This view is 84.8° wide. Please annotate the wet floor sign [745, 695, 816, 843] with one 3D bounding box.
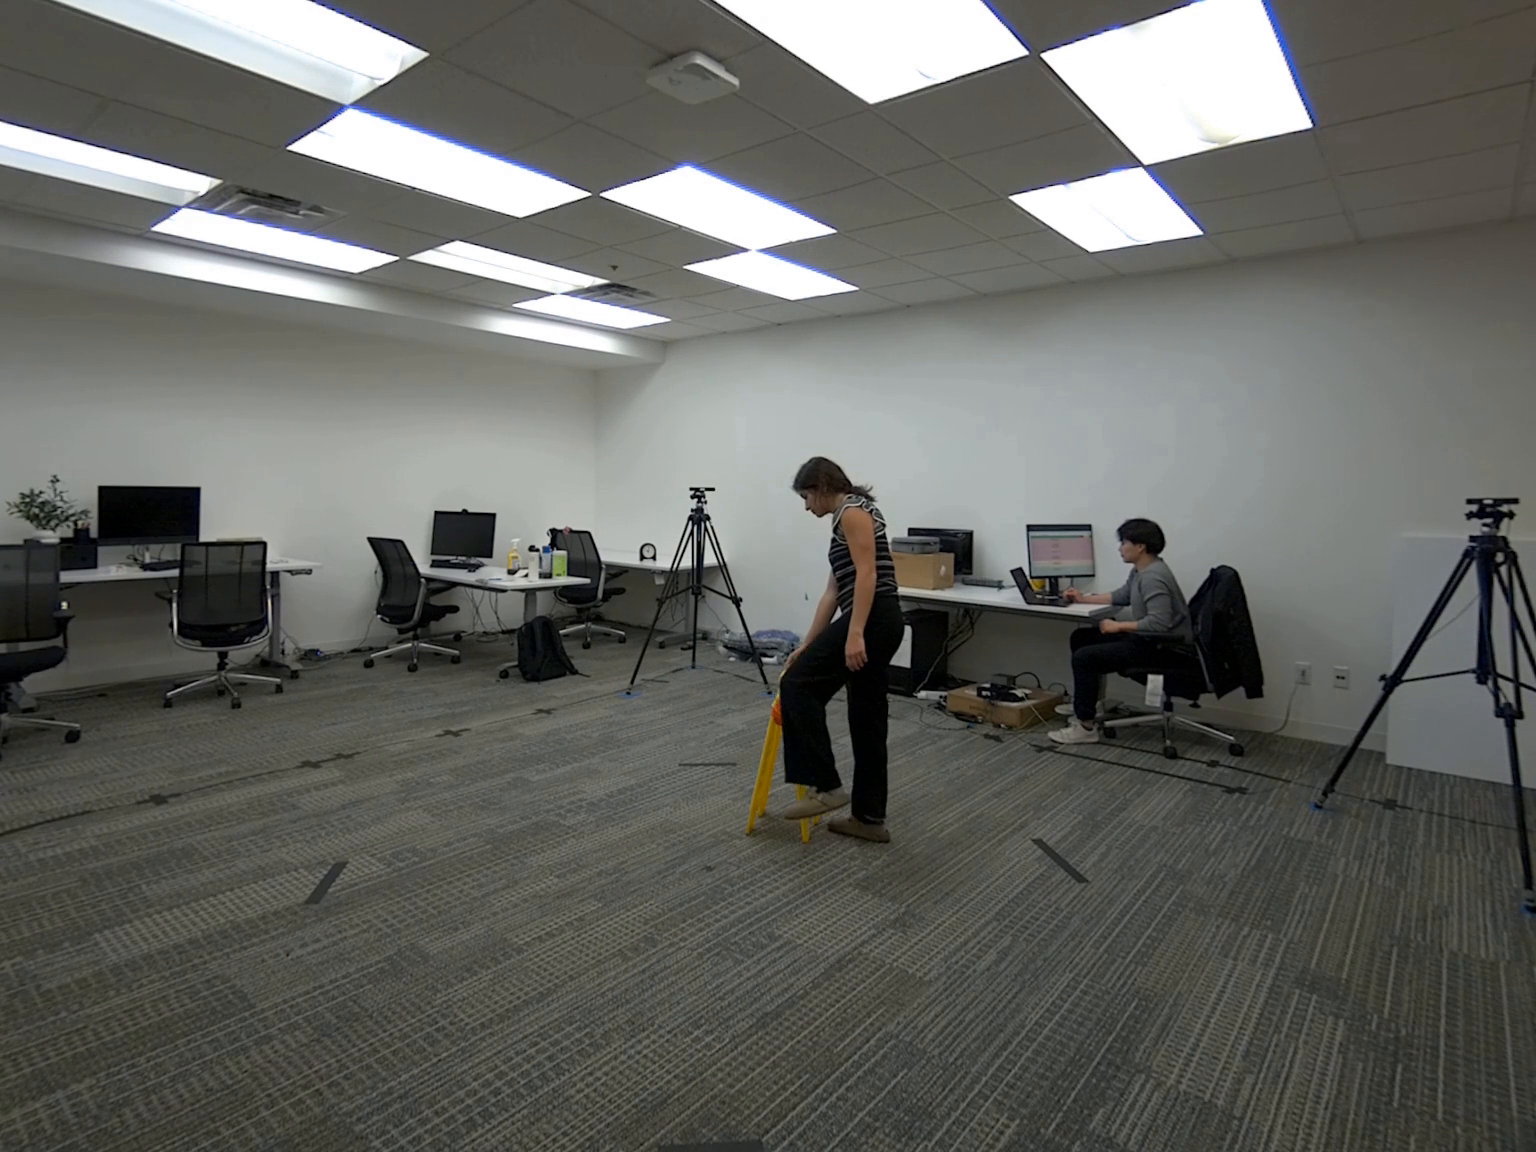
[{"bbox_3d":[0.071,0.712,3.505,0.294,0.644,0.279,3,4,14],"label":"wet floor sign"}]
